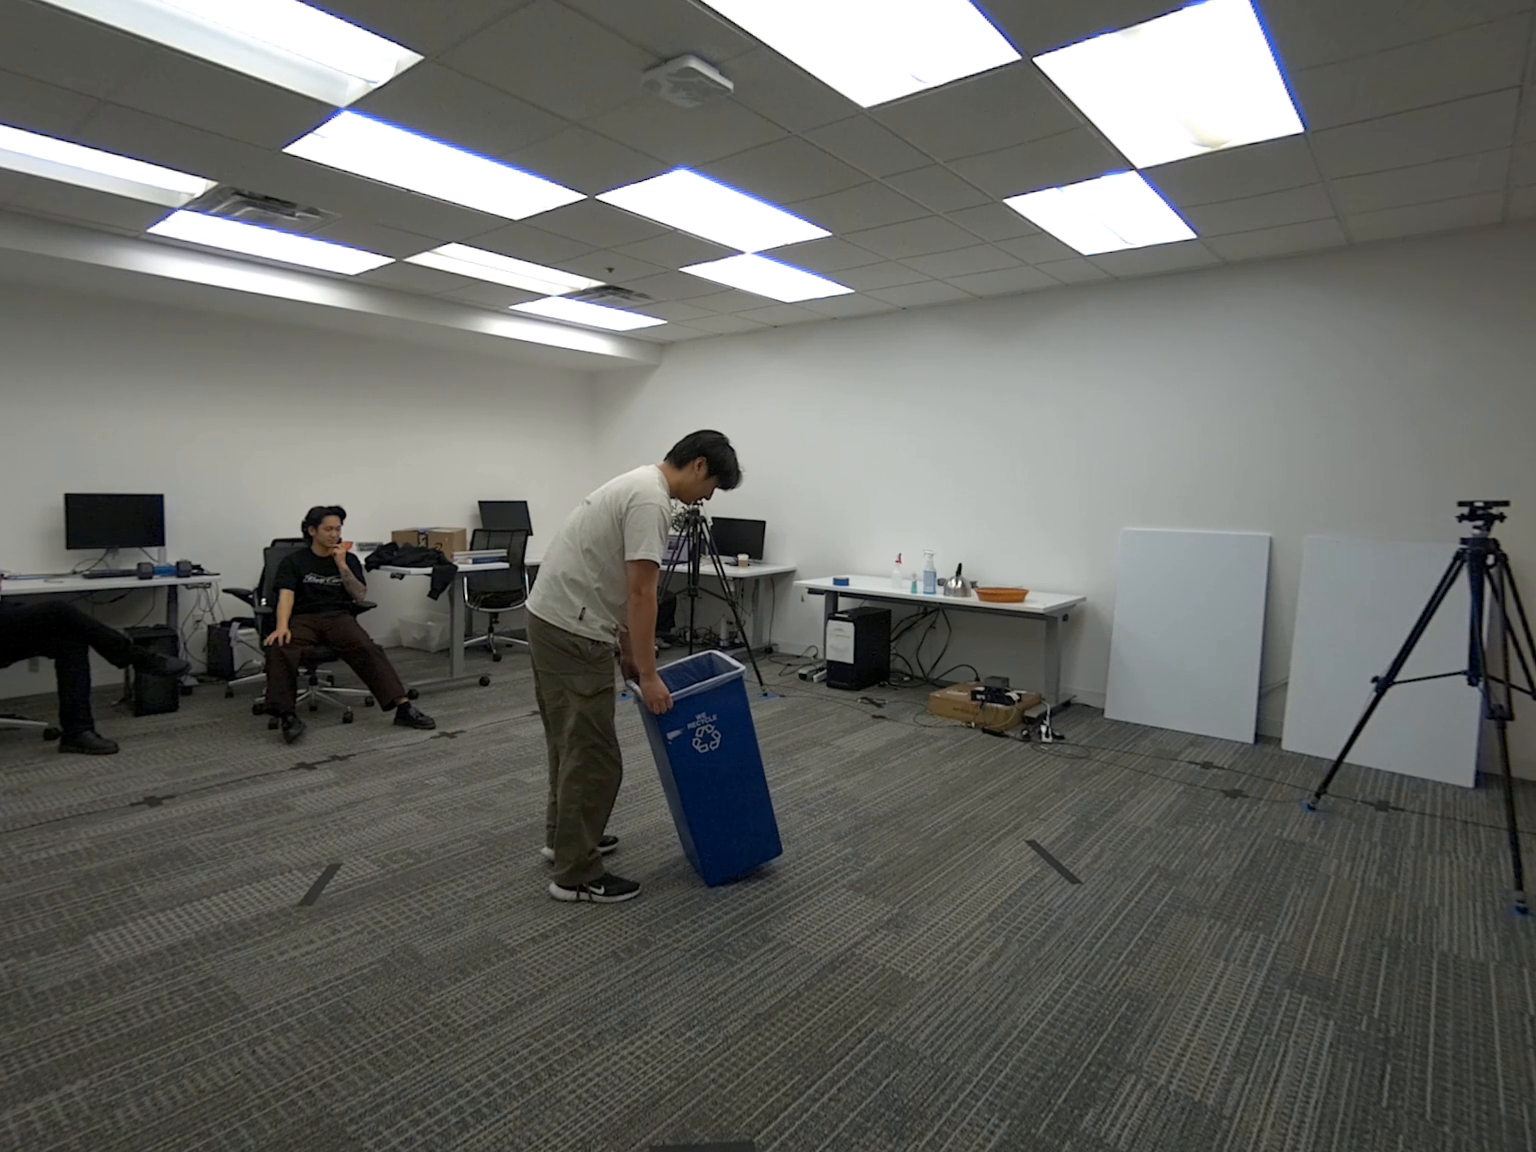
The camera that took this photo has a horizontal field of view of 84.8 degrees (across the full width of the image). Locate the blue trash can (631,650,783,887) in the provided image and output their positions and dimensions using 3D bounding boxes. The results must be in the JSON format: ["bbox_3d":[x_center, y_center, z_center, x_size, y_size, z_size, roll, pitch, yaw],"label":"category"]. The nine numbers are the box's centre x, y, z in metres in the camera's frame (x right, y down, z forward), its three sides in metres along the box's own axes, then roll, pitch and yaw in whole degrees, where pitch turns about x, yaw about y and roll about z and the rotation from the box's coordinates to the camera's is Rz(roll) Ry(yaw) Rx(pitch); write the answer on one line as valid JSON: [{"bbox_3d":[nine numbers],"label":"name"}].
[{"bbox_3d":[-0.217,0.692,3.107,0.369,0.706,0.387,-18,9,-18],"label":"blue trash can"}]
